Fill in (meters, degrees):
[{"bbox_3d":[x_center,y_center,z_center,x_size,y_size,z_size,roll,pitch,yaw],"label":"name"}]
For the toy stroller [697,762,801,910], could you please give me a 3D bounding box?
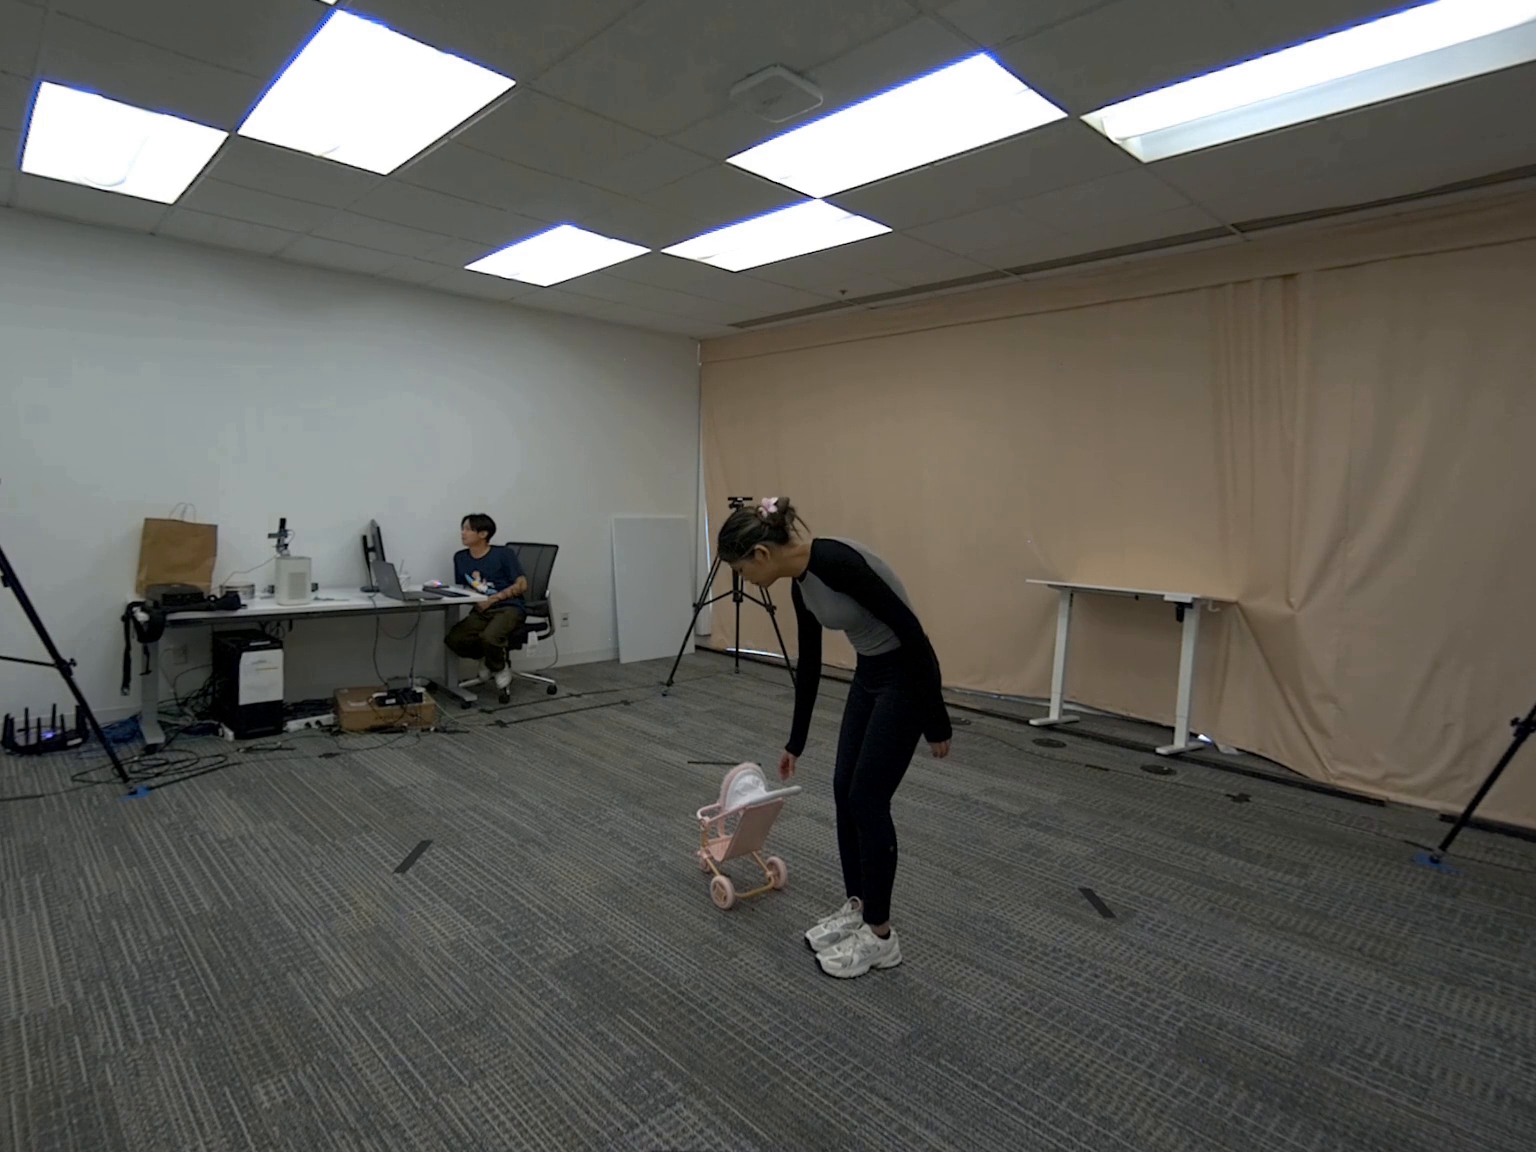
[{"bbox_3d":[-0.106,0.896,2.976,0.275,0.530,0.352,-1,21,-37],"label":"toy stroller"}]
